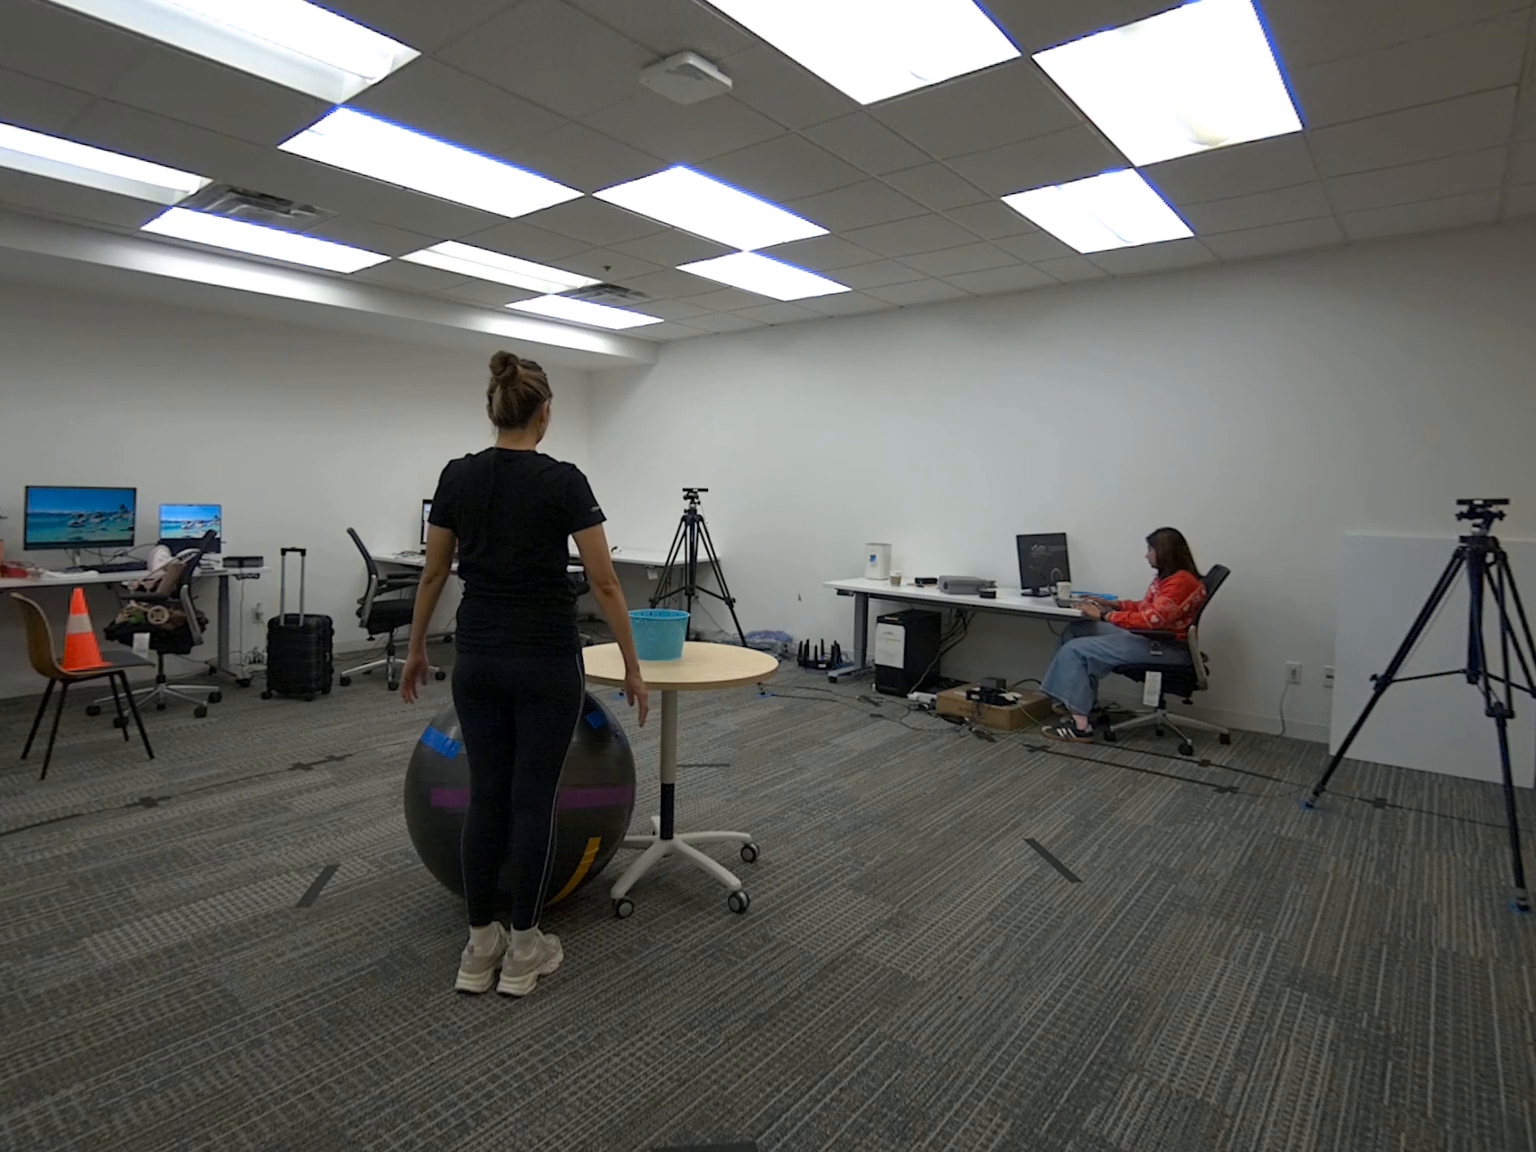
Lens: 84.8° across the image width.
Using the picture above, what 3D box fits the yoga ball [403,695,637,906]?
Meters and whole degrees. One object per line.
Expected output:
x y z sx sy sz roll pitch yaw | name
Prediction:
-0.848 0.719 2.853 0.757 0.756 0.761 1 4 -2 | yoga ball
